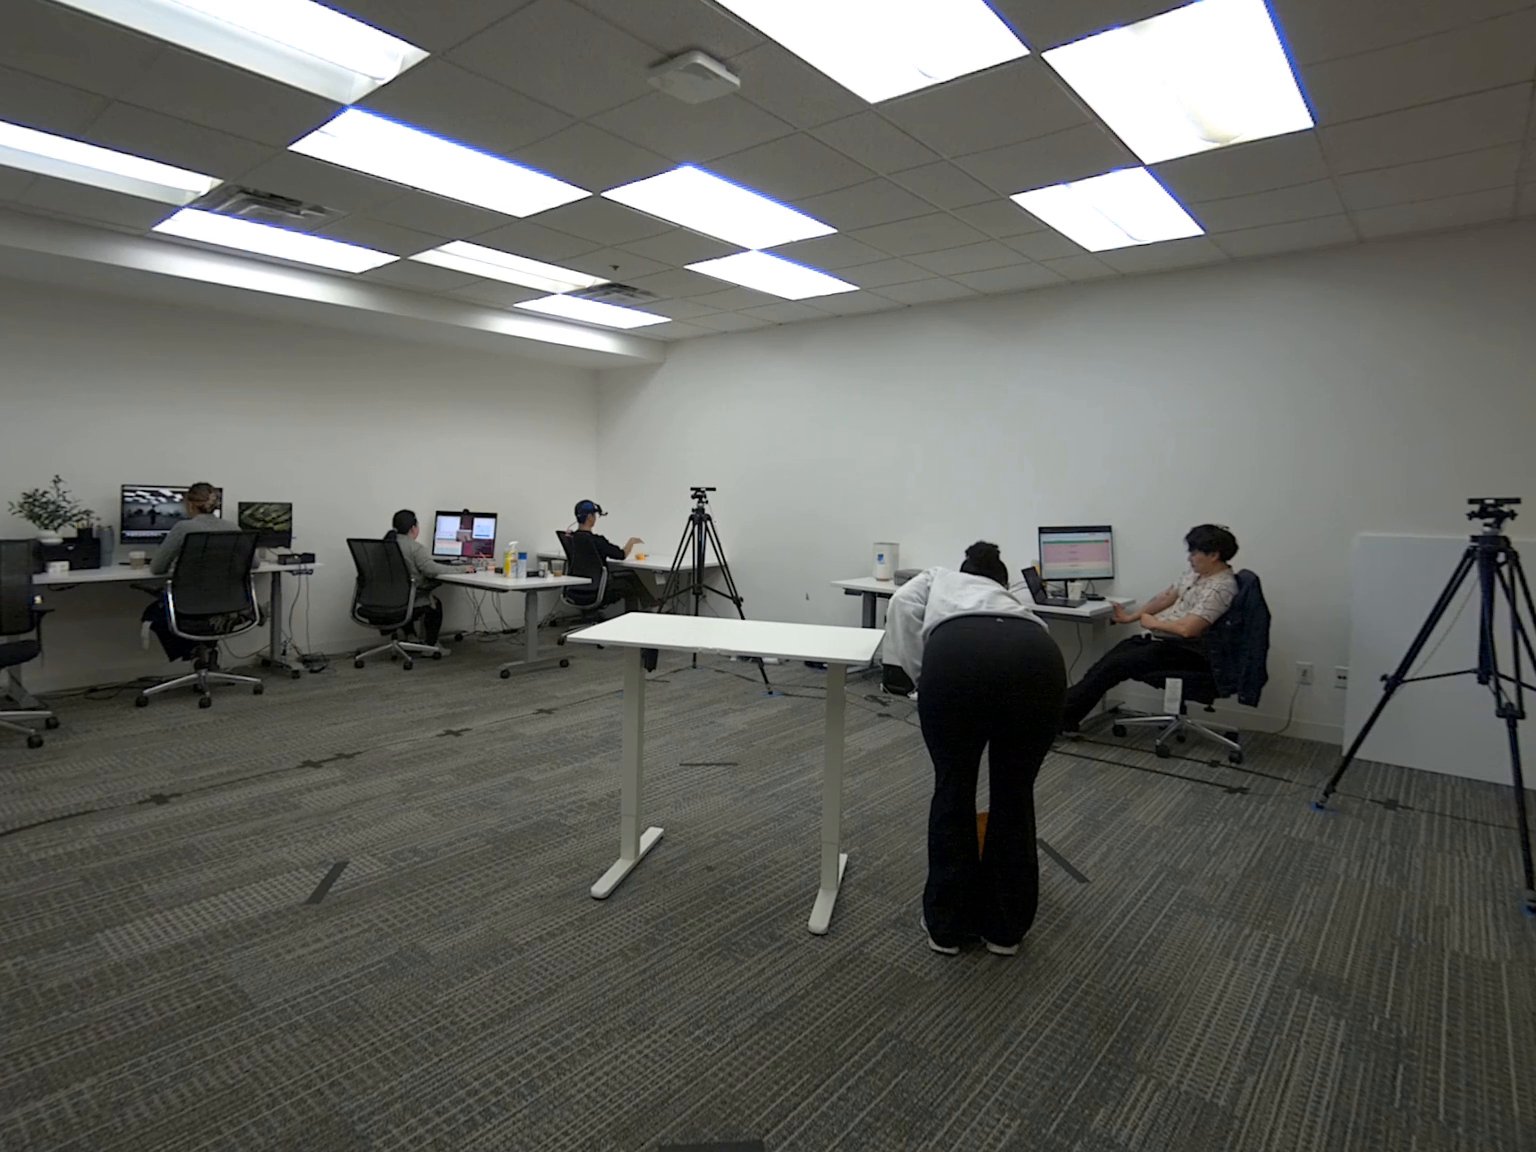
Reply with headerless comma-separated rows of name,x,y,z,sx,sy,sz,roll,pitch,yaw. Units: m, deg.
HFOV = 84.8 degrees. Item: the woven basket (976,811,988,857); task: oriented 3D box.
woven basket,0.782,0.933,3.036,0.255,0.075,0.337,-6,-41,11
